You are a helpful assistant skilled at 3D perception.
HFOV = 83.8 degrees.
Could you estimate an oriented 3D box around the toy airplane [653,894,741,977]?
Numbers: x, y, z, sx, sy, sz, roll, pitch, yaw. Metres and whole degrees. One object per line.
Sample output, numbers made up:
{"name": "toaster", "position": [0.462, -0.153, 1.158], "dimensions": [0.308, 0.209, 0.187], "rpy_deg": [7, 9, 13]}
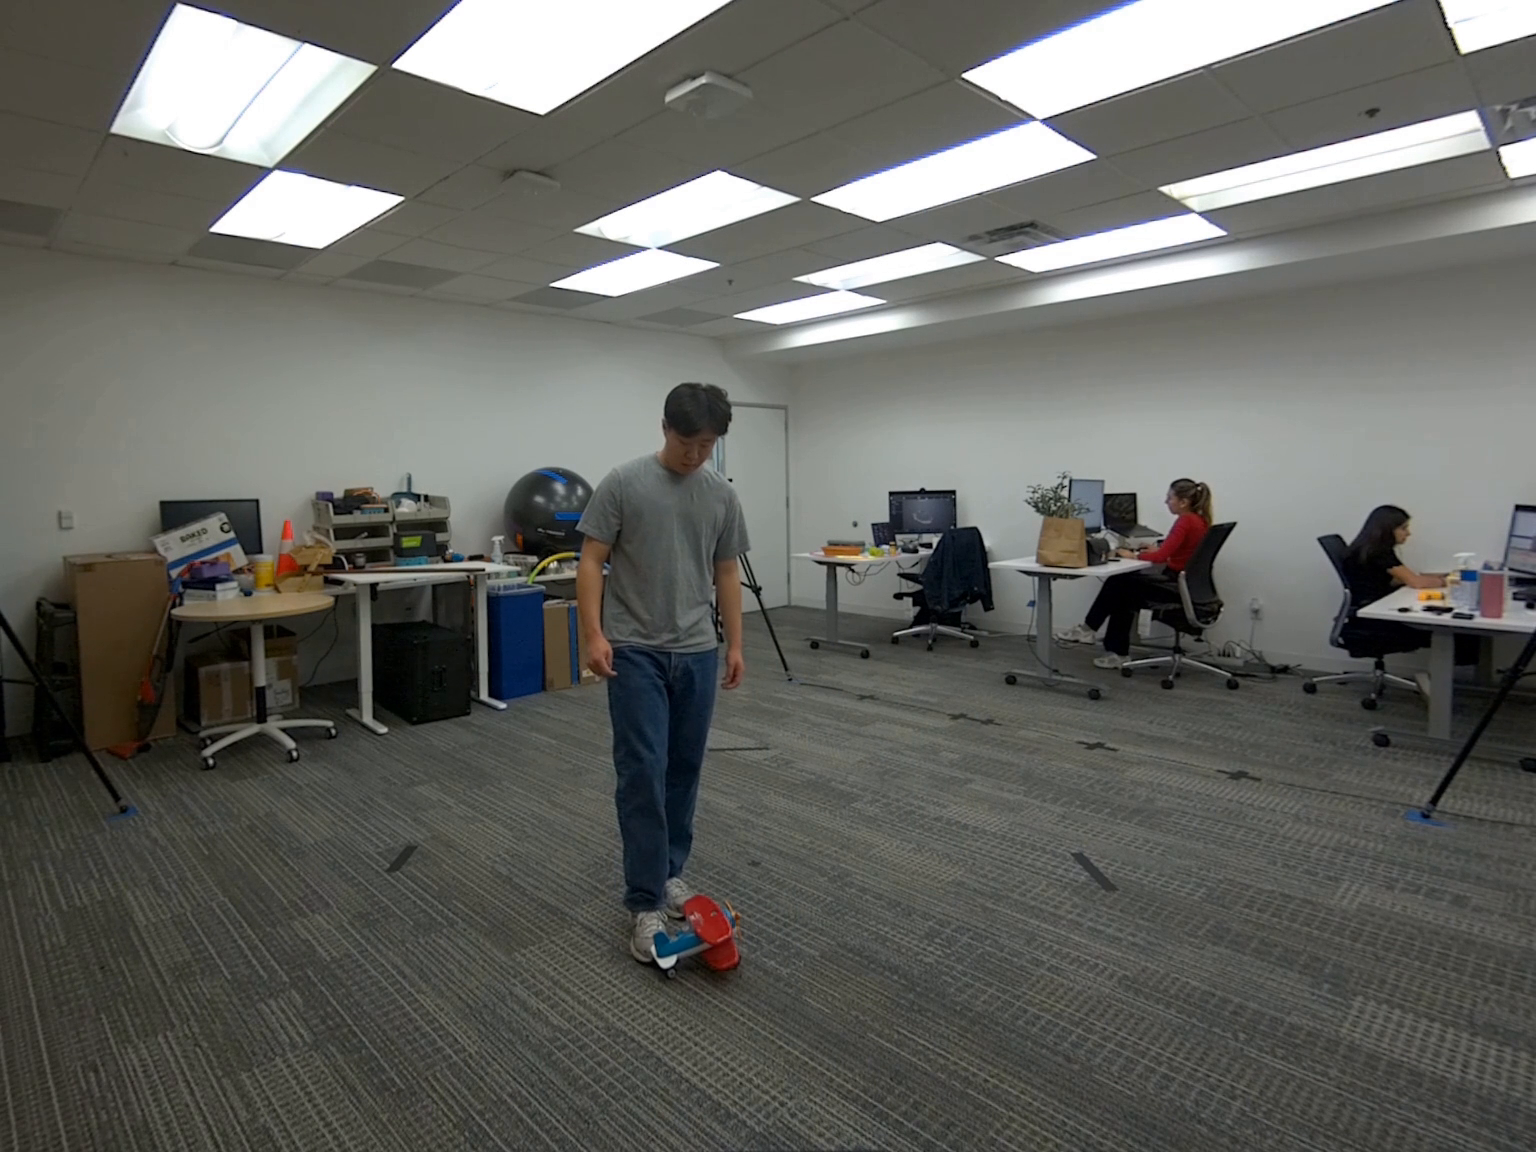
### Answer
{"name": "toy airplane", "position": [-0.190, 1.055, 2.433], "dimensions": [0.259, 0.156, 0.252], "rpy_deg": [4, 7, 39]}
